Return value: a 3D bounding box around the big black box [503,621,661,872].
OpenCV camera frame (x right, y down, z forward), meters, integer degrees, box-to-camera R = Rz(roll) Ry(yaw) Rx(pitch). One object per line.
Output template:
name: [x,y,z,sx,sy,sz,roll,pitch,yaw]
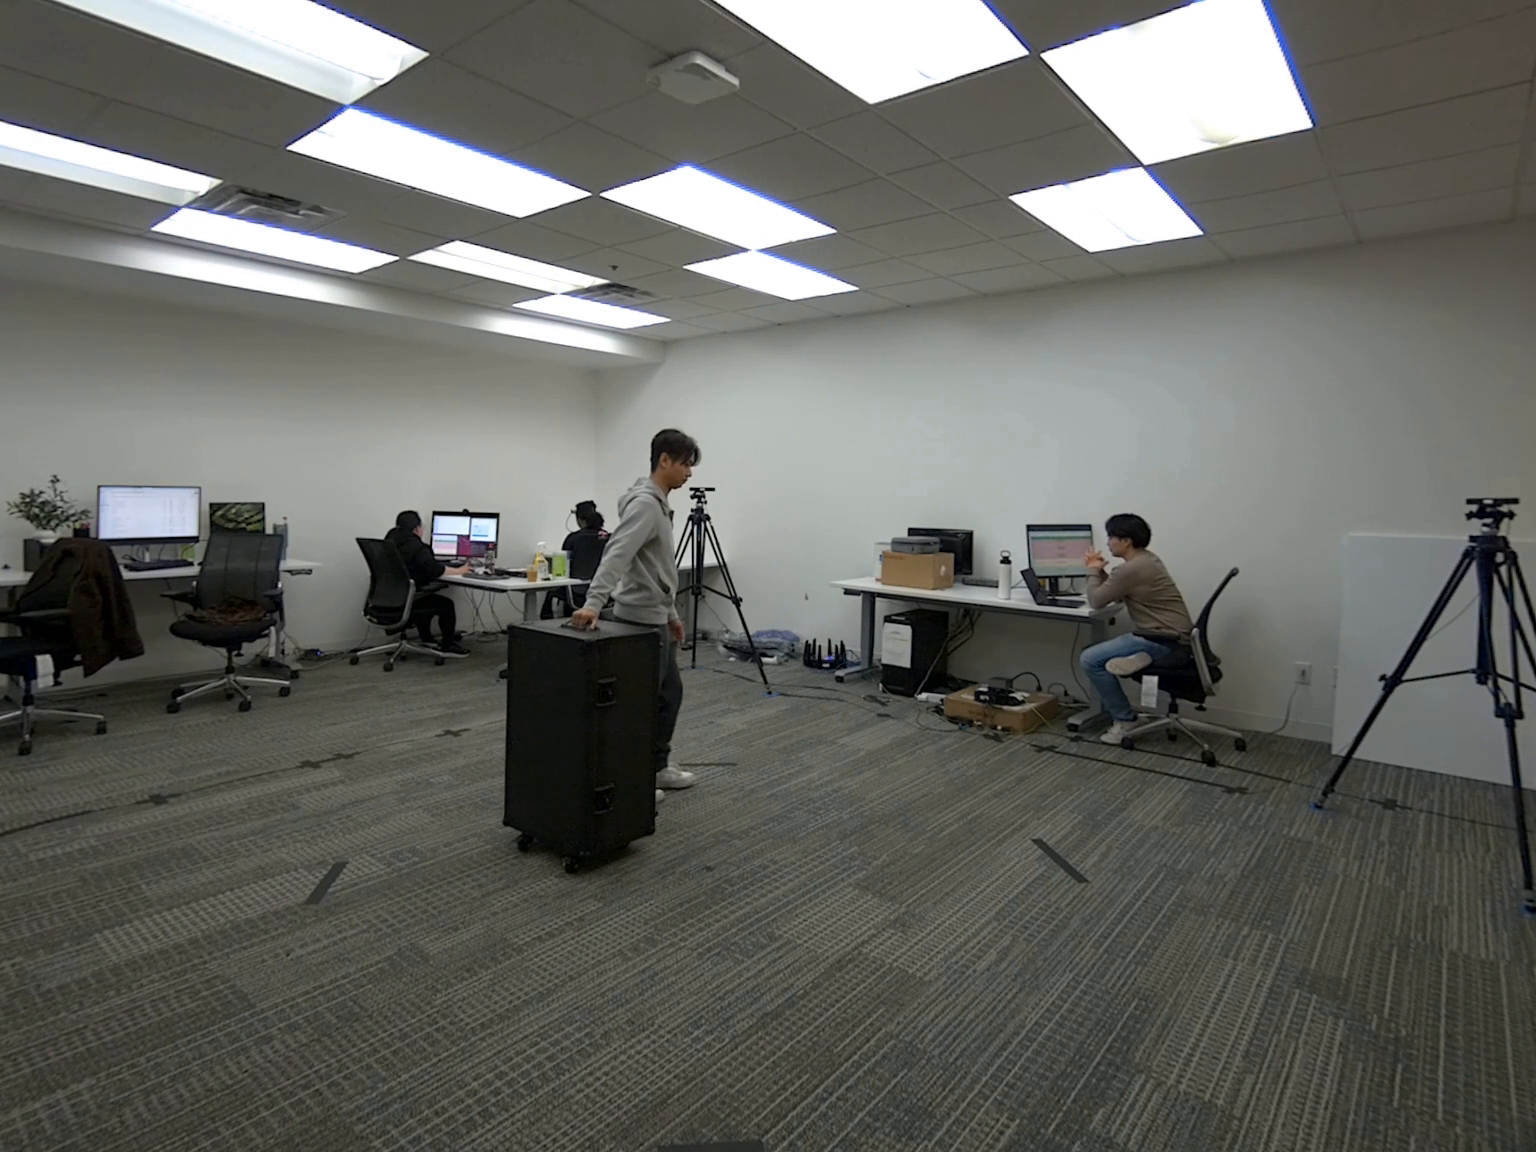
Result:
big black box: [-0.727,0.617,3.269,0.539,0.861,0.384,4,2,39]
